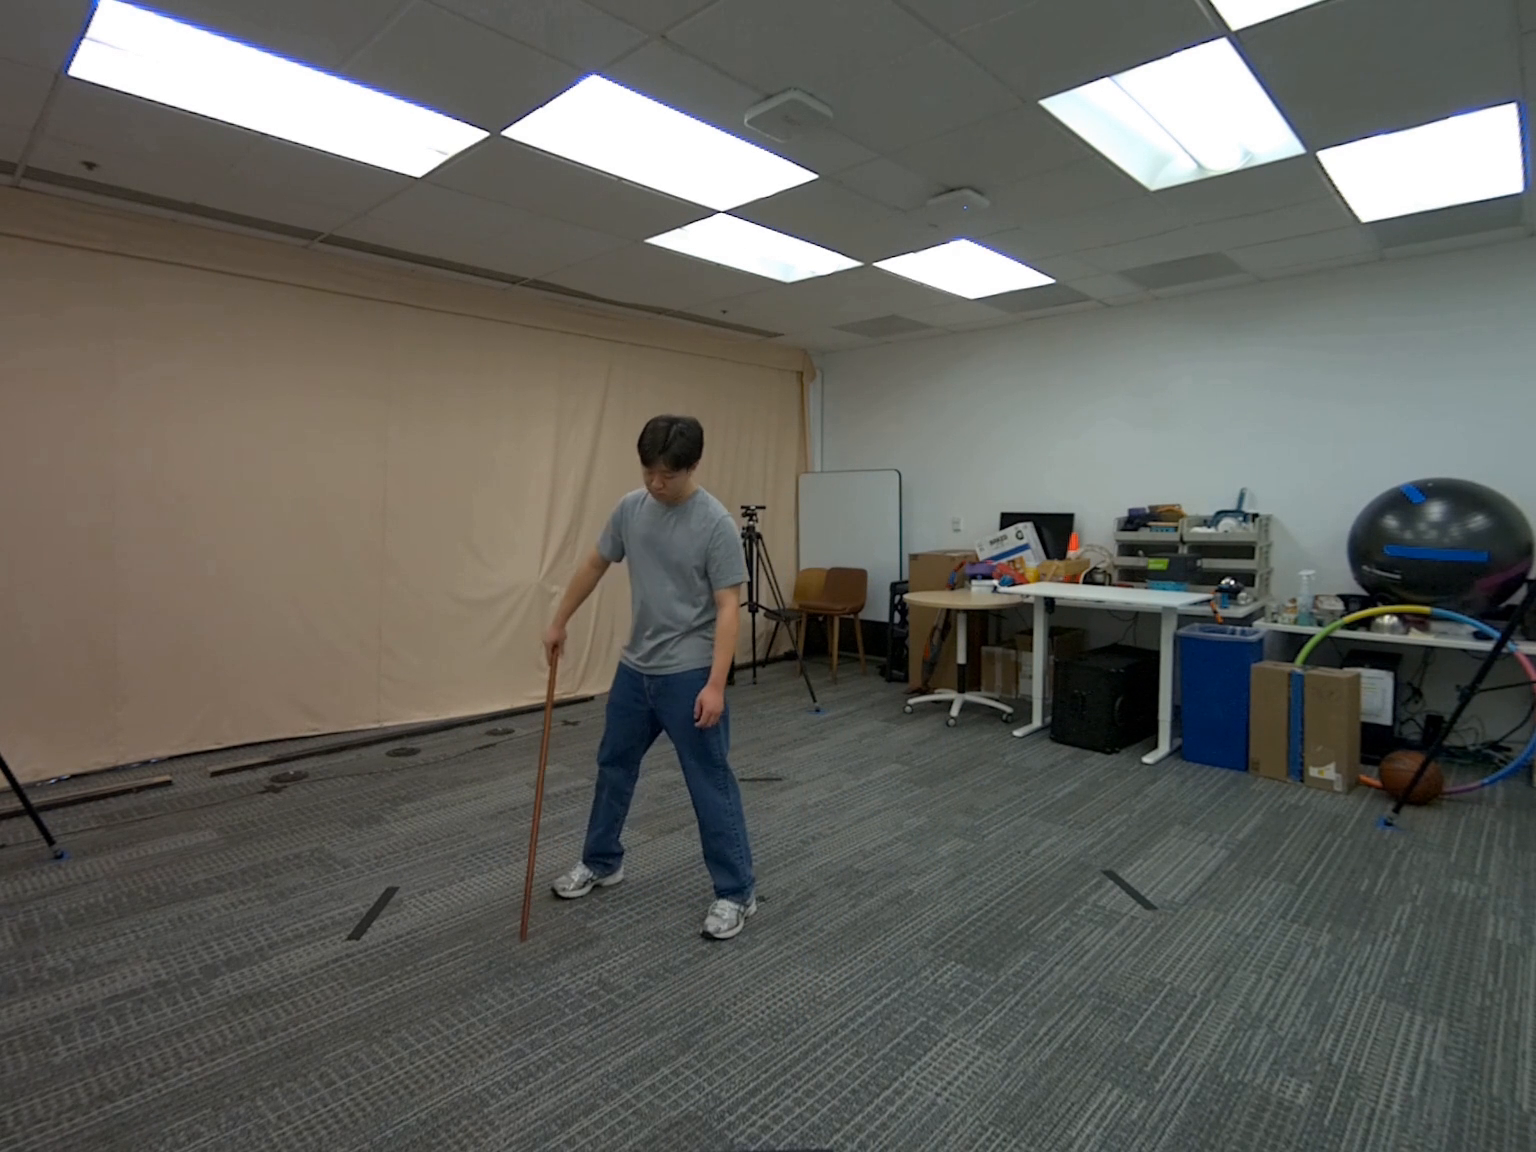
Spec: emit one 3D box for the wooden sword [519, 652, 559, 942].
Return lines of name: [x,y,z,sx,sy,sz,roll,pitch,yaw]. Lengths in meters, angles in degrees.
wooden sword: [-0.793,0.715,2.906,0.051,1.039,0.024,1,-23,-3]
